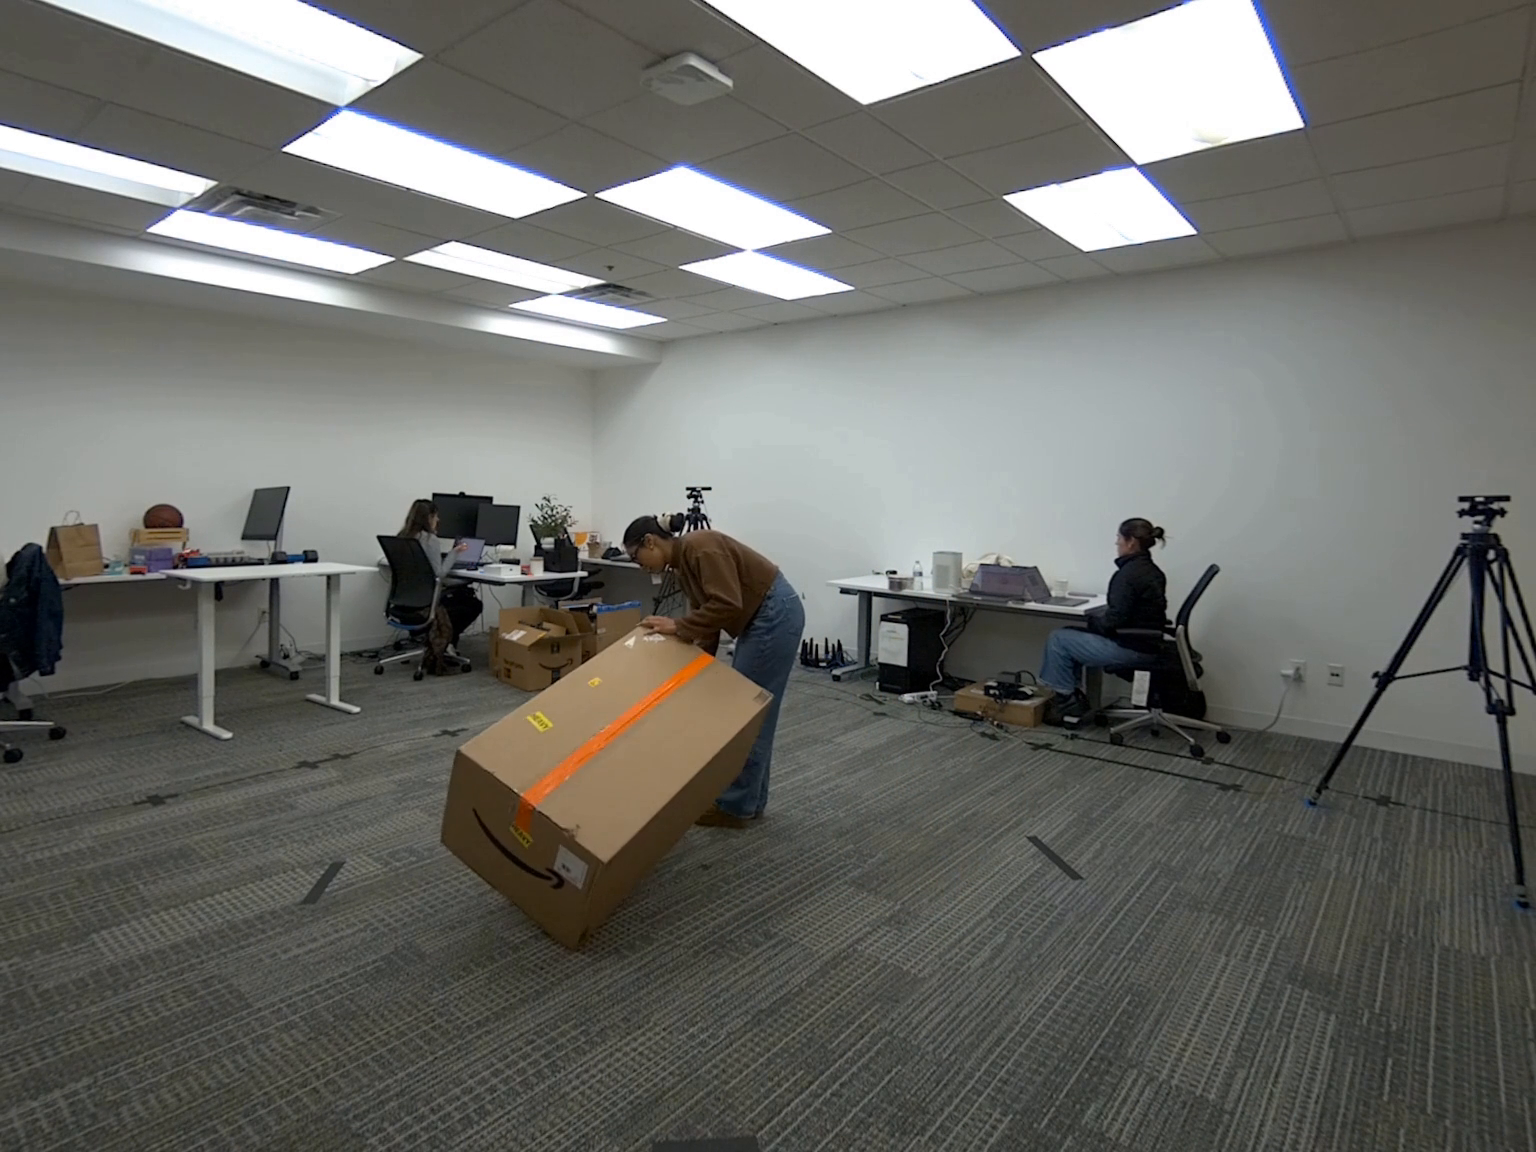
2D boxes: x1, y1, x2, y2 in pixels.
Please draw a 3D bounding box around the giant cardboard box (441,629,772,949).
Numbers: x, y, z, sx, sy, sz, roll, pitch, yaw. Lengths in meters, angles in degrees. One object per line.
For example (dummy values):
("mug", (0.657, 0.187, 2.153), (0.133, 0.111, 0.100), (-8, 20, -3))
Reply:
("giant cardboard box", (-0.526, 0.642, 2.932), (0.599, 0.441, 1.016), (30, 32, 16))
